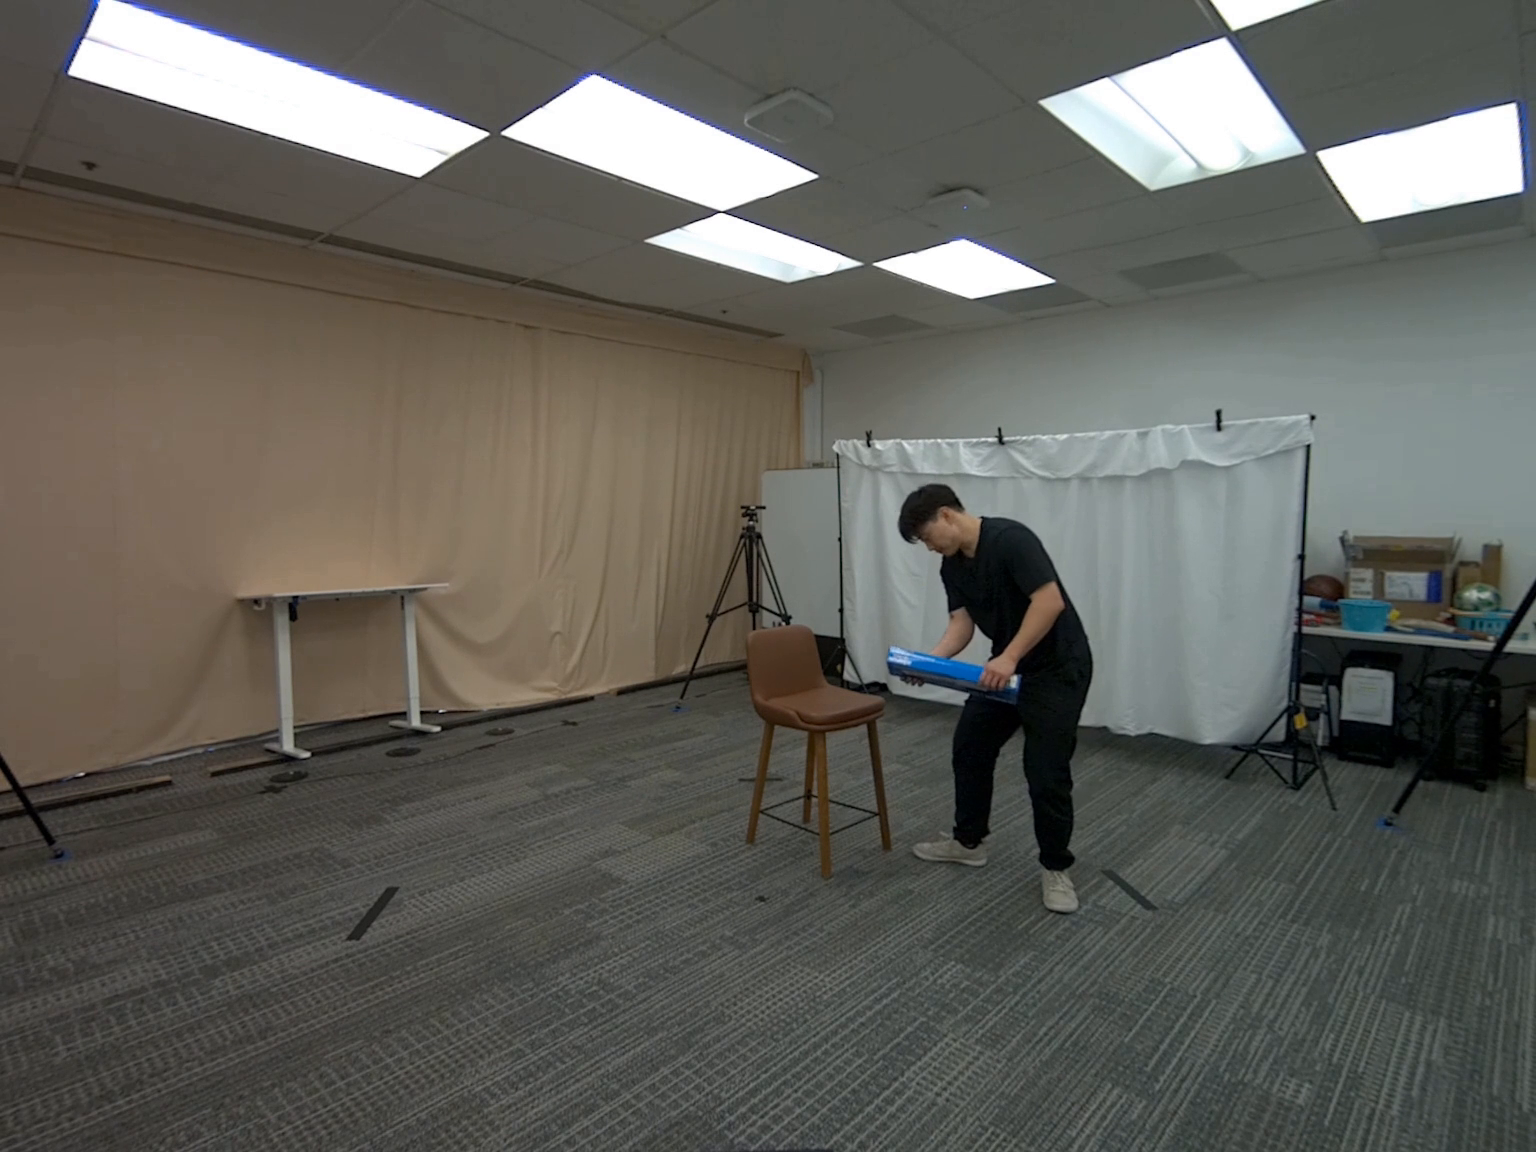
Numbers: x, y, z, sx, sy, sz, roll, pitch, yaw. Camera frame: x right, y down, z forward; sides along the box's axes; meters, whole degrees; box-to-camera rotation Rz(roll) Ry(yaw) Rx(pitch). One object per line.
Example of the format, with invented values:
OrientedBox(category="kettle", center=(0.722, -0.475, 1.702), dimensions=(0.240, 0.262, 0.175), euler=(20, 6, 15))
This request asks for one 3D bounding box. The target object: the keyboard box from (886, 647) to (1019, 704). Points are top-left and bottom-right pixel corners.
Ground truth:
OrientedBox(category="keyboard box", center=(0.643, 0.342, 2.901), dimensions=(0.447, 0.059, 0.171), euler=(12, -19, 19))
